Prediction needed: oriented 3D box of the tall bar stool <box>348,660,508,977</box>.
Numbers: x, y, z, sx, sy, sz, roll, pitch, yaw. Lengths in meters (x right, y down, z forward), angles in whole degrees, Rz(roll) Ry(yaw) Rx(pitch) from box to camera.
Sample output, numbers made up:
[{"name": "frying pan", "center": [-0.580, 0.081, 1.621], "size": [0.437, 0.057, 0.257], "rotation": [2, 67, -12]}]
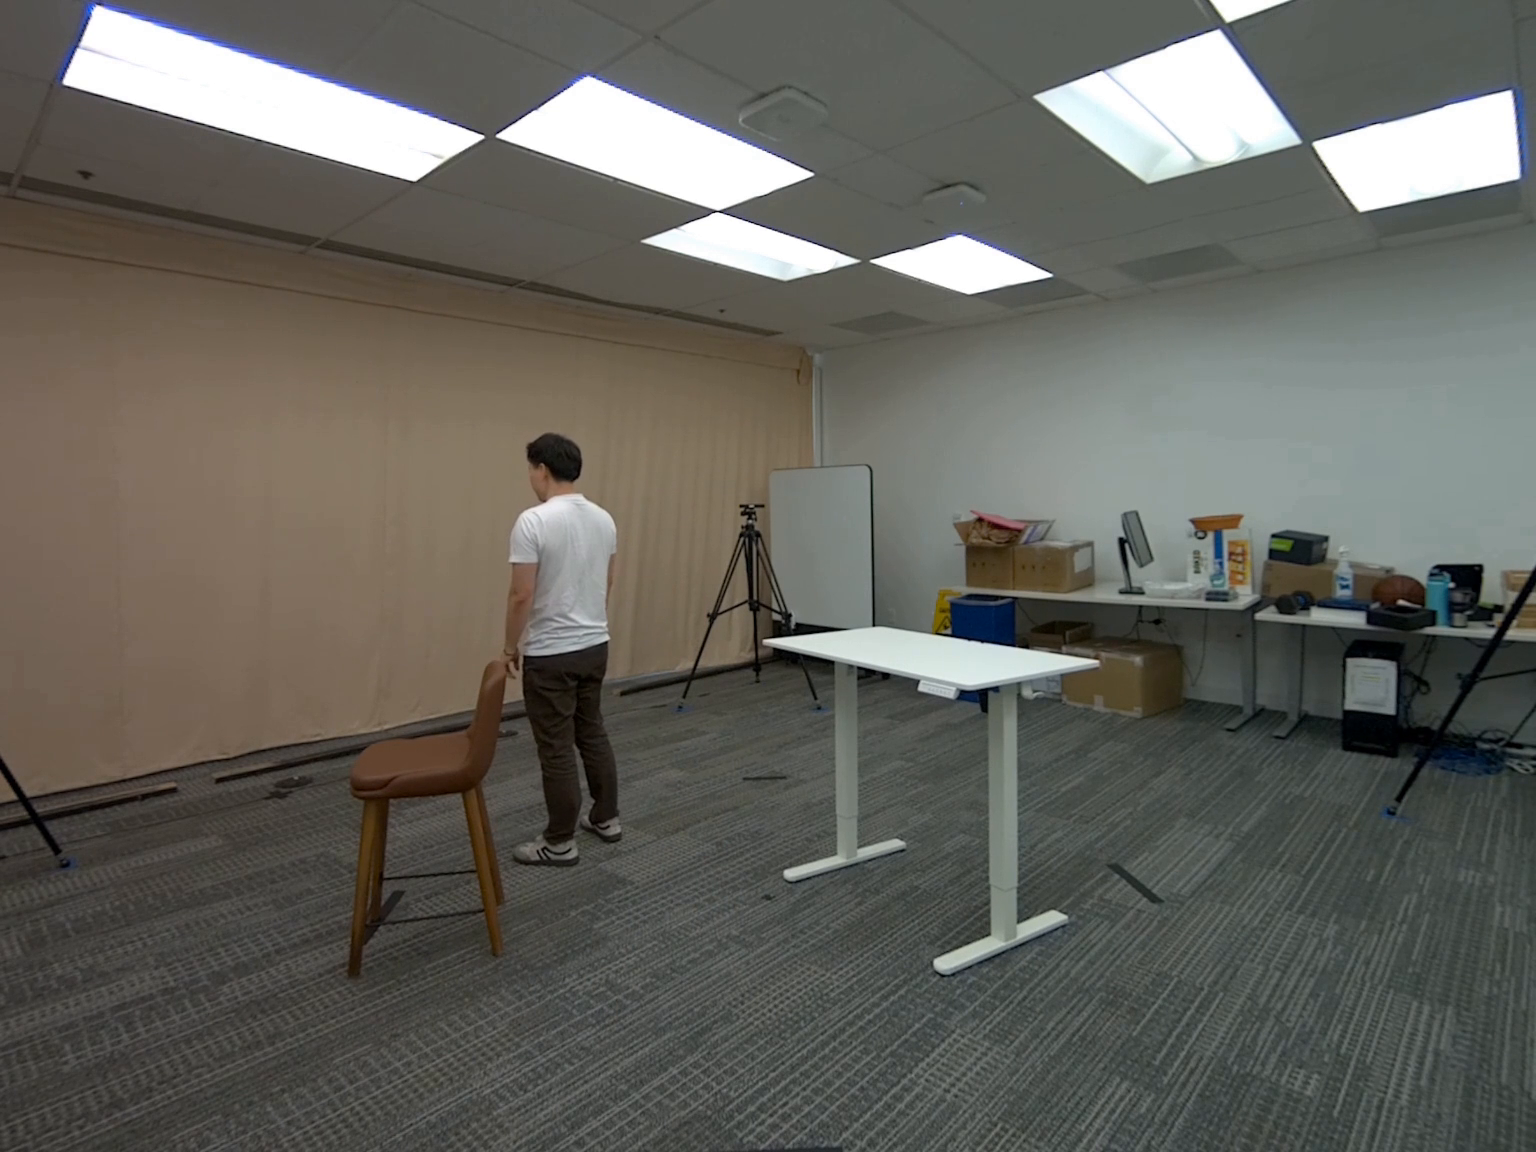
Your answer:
[{"name": "tall bar stool", "center": [-1.101, 0.751, 2.746], "size": [0.460, 0.888, 0.464], "rotation": [0, 2, -15]}]
